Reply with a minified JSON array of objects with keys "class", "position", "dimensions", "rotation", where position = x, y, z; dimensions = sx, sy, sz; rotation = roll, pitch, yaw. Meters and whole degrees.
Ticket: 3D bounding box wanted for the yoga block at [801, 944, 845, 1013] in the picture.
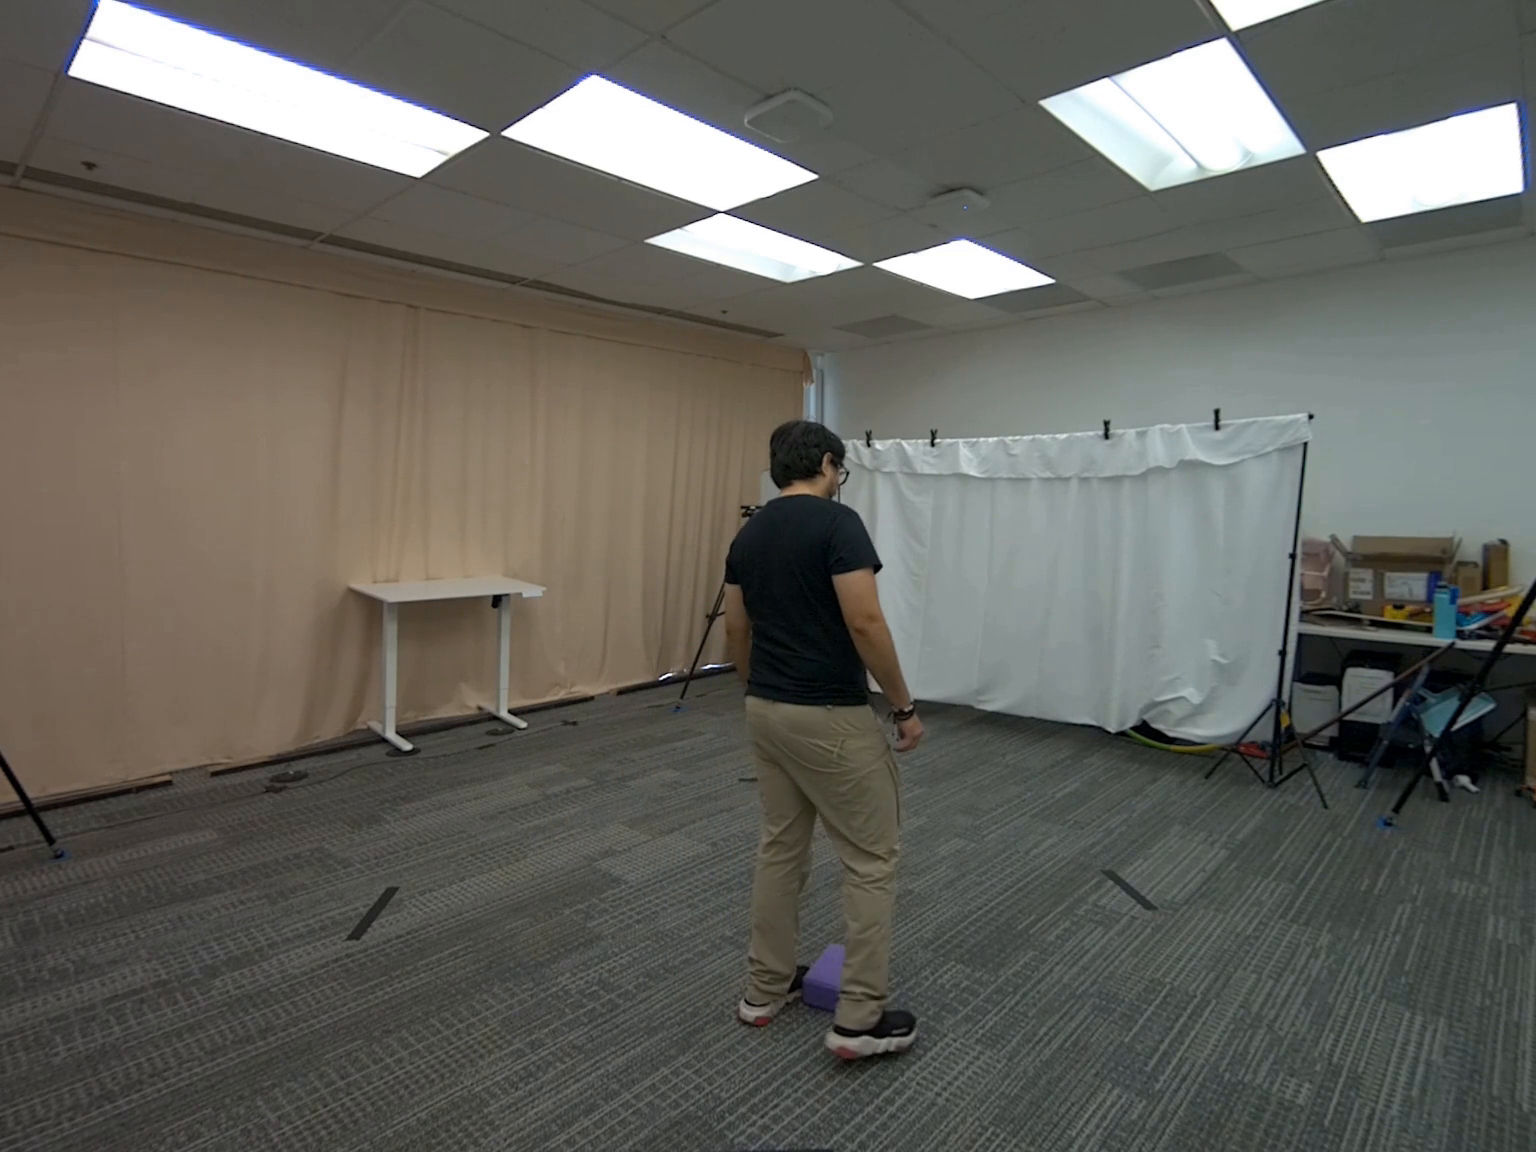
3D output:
[{"class":"yoga block","position":[0.211,1.152,2.408],"dimensions":[0.153,0.076,0.224],"rotation":[2,4,26]}]
